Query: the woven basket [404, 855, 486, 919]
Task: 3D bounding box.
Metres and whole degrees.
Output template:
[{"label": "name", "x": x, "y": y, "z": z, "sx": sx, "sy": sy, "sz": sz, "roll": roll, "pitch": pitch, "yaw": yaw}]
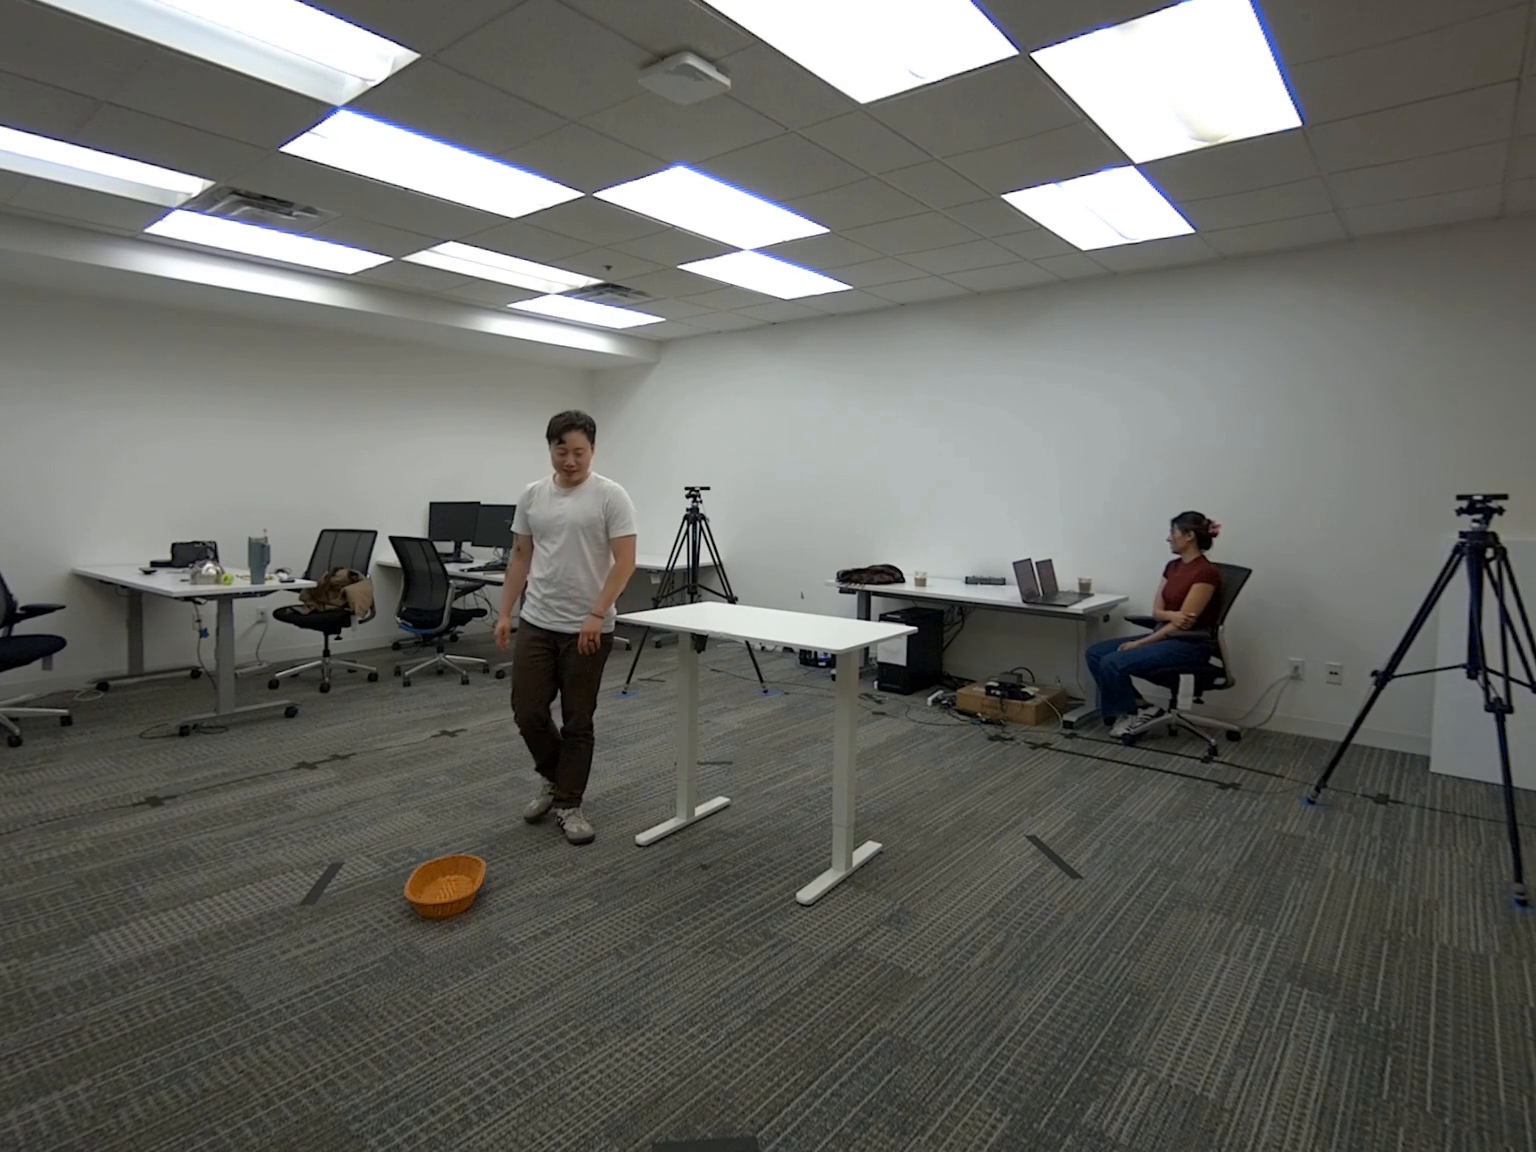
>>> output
[{"label": "woven basket", "x": -1.093, "y": 1.042, "z": 2.857, "sx": 0.251, "sy": 0.073, "sz": 0.354, "roll": -1, "pitch": 6, "yaw": -7}]
